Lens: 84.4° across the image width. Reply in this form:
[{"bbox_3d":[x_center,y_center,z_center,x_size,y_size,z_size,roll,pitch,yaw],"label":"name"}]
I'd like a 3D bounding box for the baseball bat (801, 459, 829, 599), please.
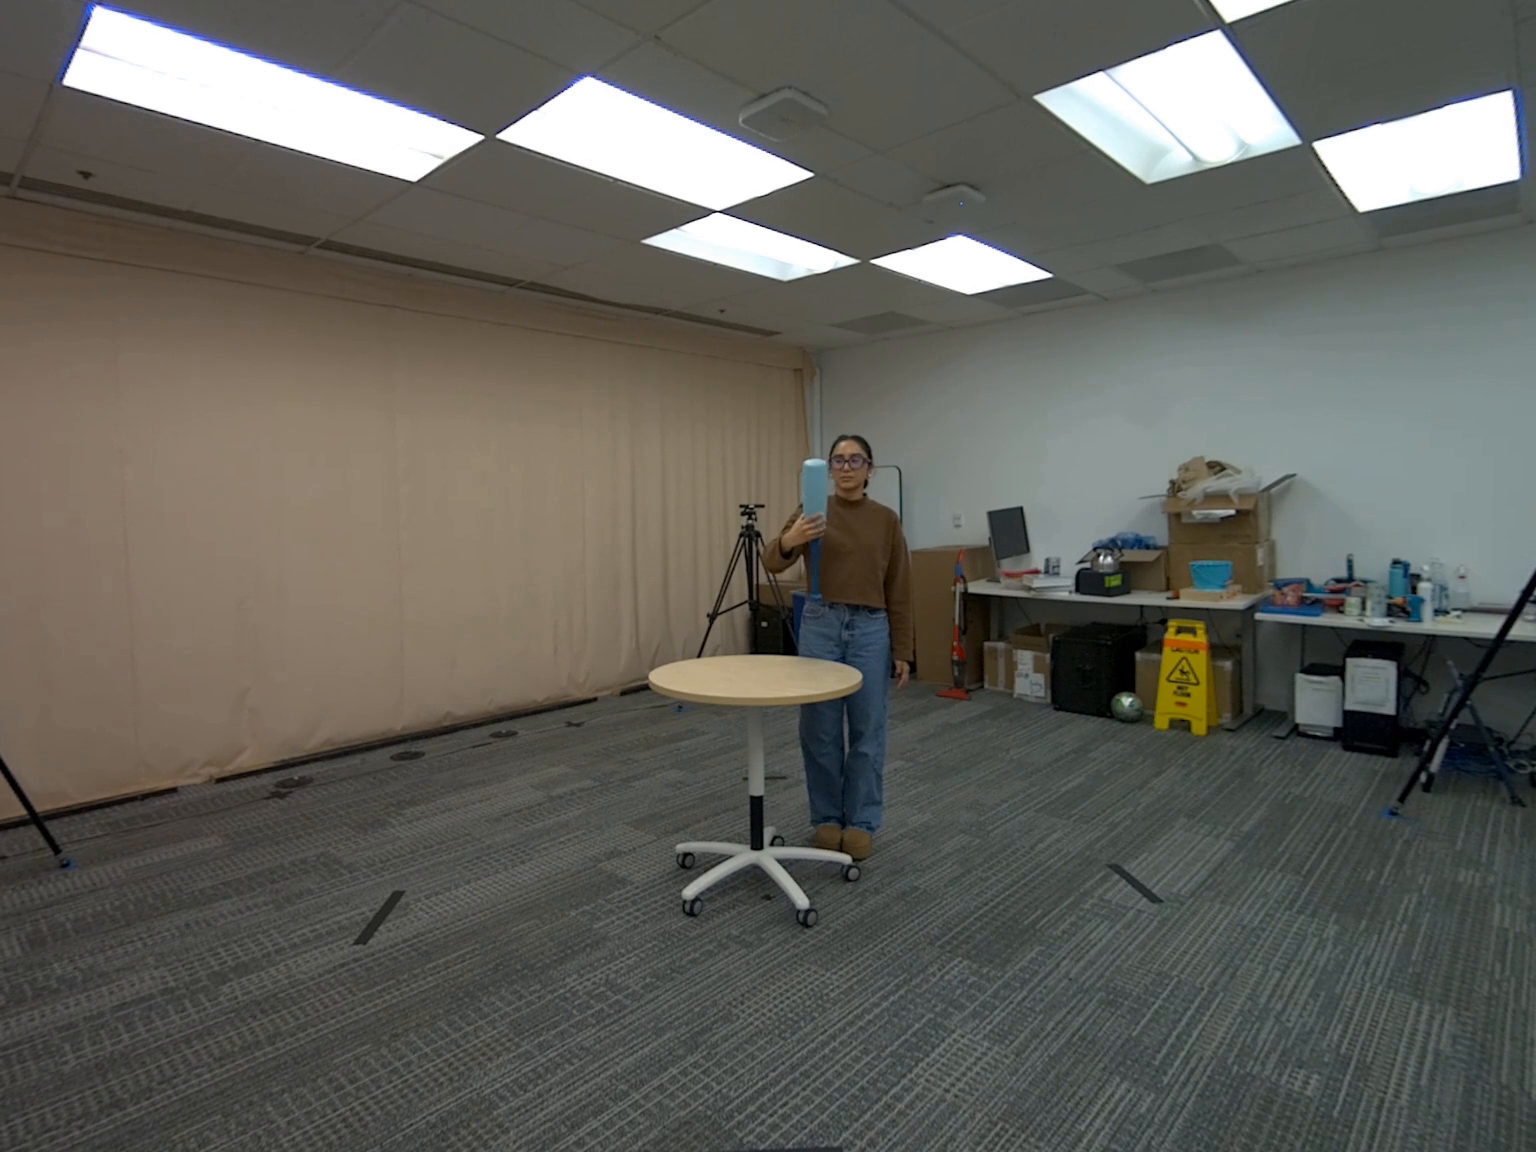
[{"bbox_3d":[0.171,-0.159,3.083,0.089,0.535,0.090,-3,22,-1],"label":"baseball bat"}]
